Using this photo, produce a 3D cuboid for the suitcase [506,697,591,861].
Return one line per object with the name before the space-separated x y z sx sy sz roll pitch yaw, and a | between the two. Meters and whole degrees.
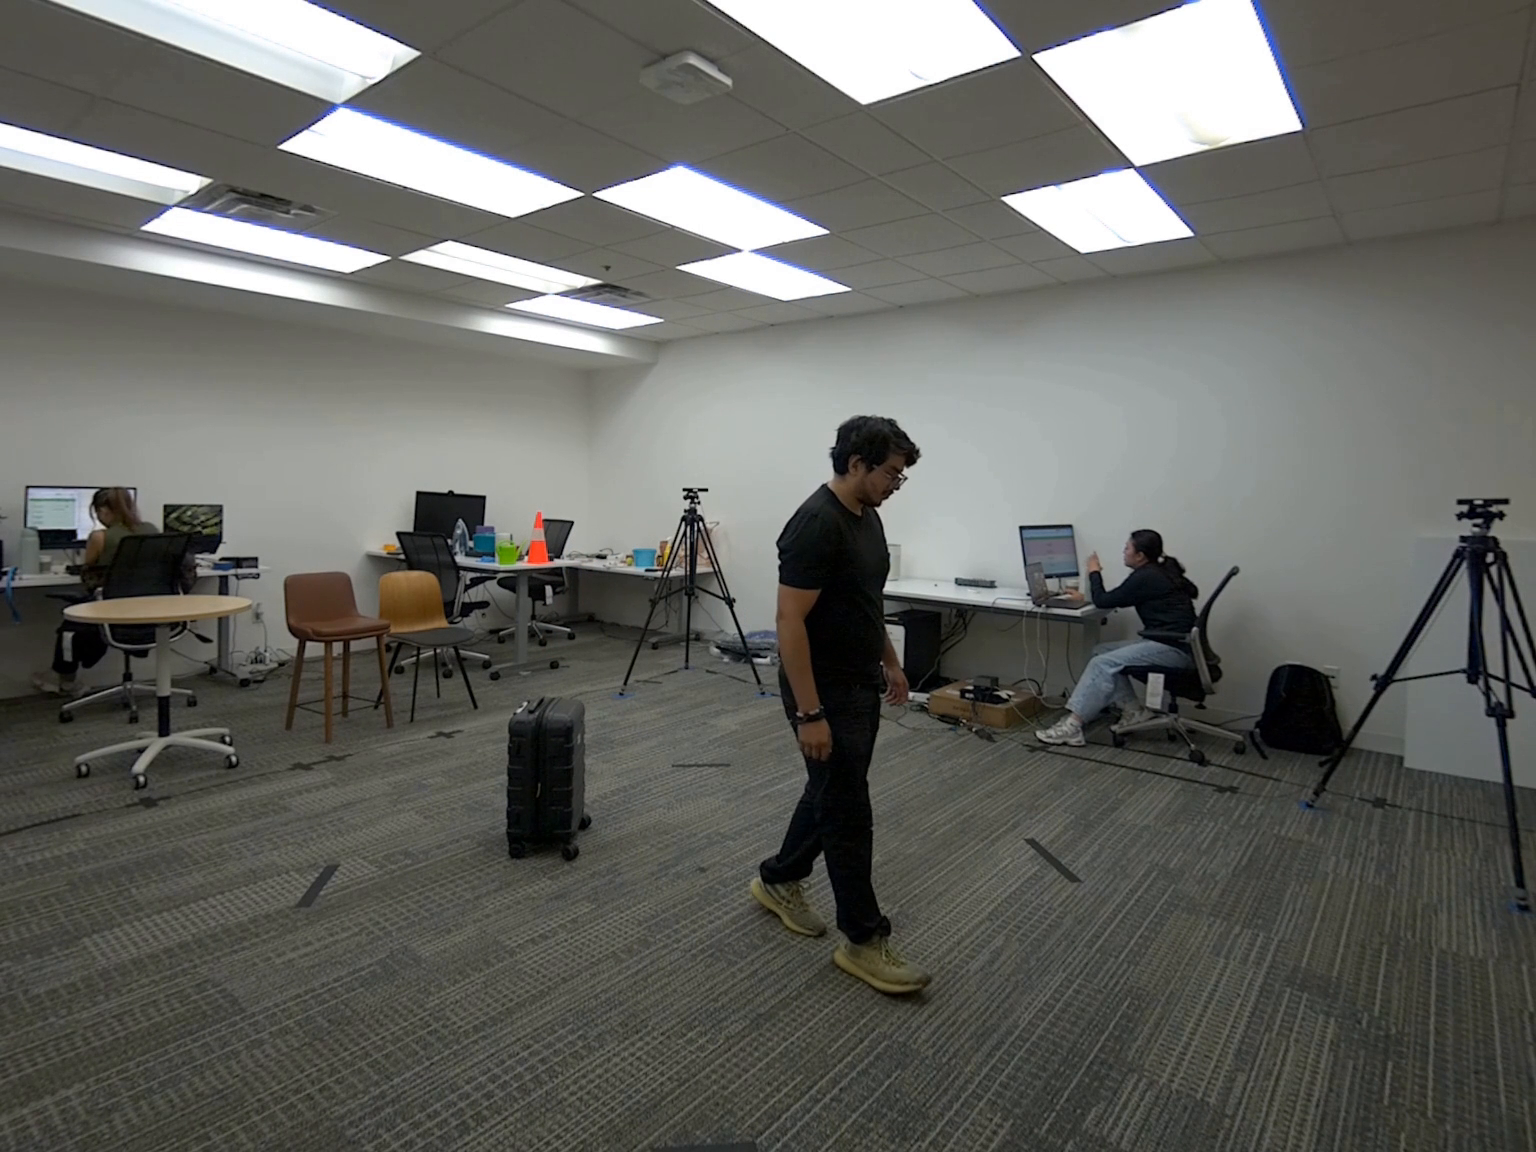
suitcase | -0.877 0.761 3.323 0.248 0.548 0.377 1 2 -3
